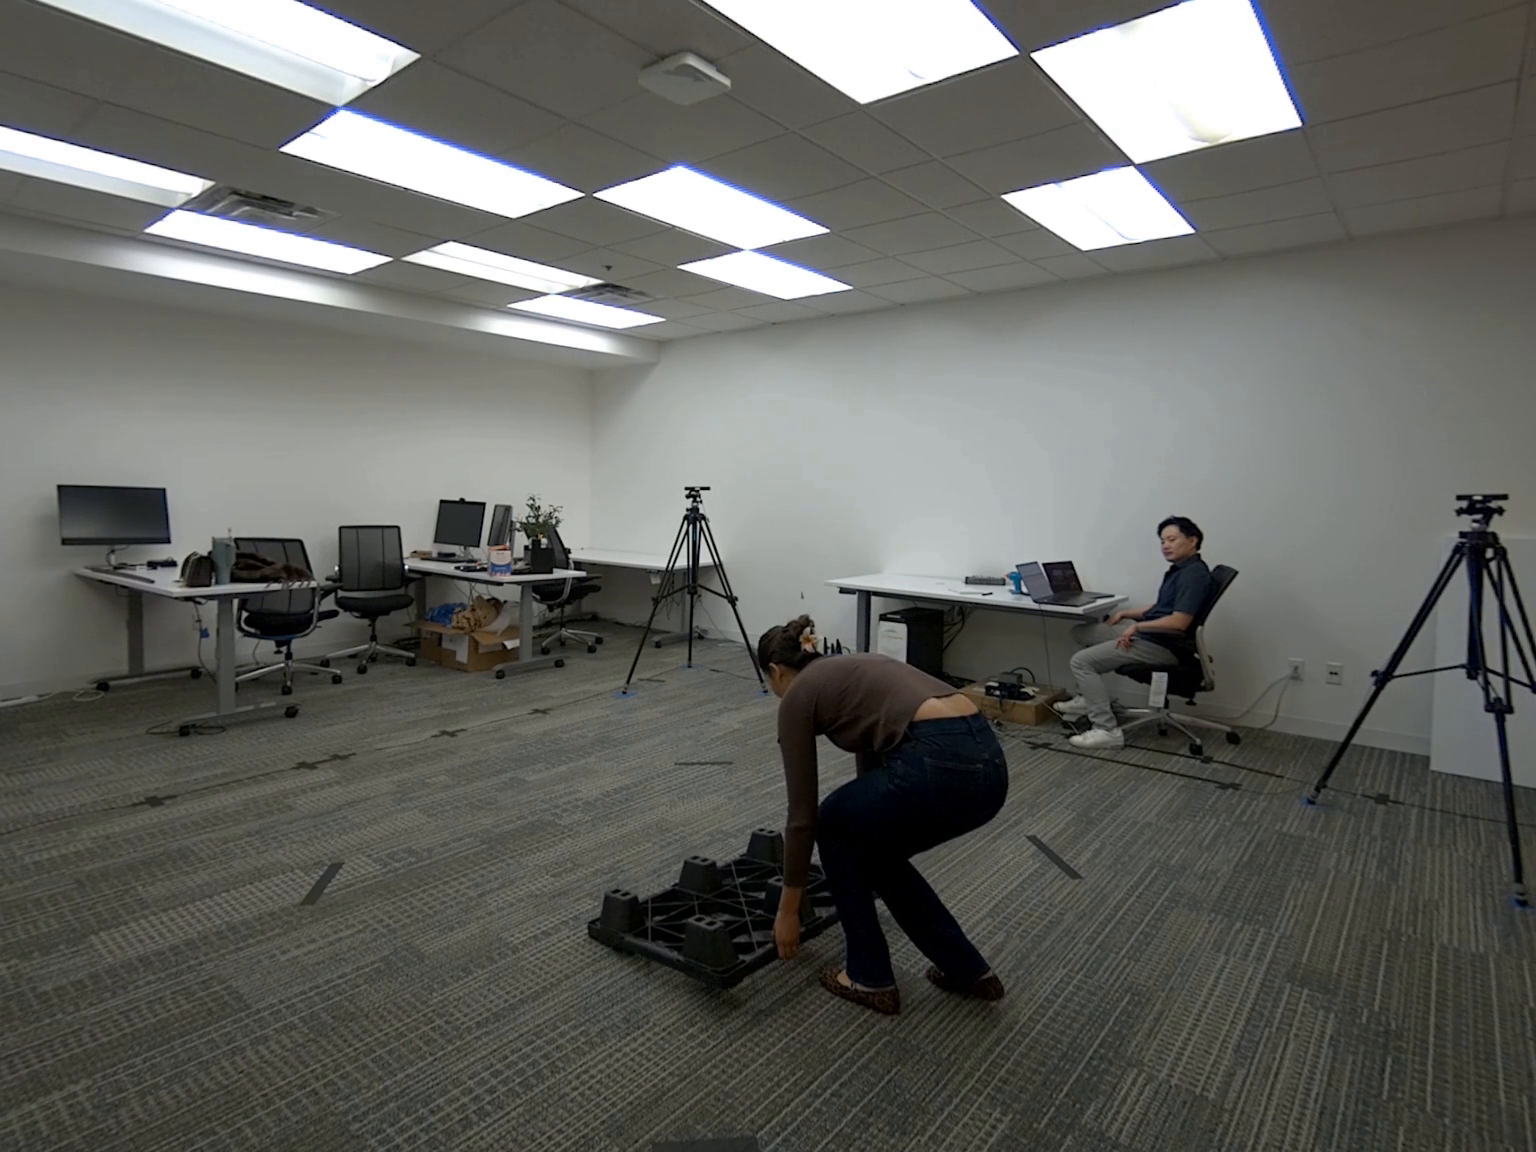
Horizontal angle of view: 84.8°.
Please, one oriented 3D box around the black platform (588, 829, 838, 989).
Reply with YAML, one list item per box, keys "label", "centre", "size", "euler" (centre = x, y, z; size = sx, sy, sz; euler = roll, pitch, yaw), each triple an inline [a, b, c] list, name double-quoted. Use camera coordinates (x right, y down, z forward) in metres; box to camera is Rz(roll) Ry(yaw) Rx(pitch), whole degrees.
- label: "black platform"
  centre: [-0.093, 1.004, 2.714]
  size: [0.623, 0.143, 0.781]
  euler: [-3, 1, 42]
